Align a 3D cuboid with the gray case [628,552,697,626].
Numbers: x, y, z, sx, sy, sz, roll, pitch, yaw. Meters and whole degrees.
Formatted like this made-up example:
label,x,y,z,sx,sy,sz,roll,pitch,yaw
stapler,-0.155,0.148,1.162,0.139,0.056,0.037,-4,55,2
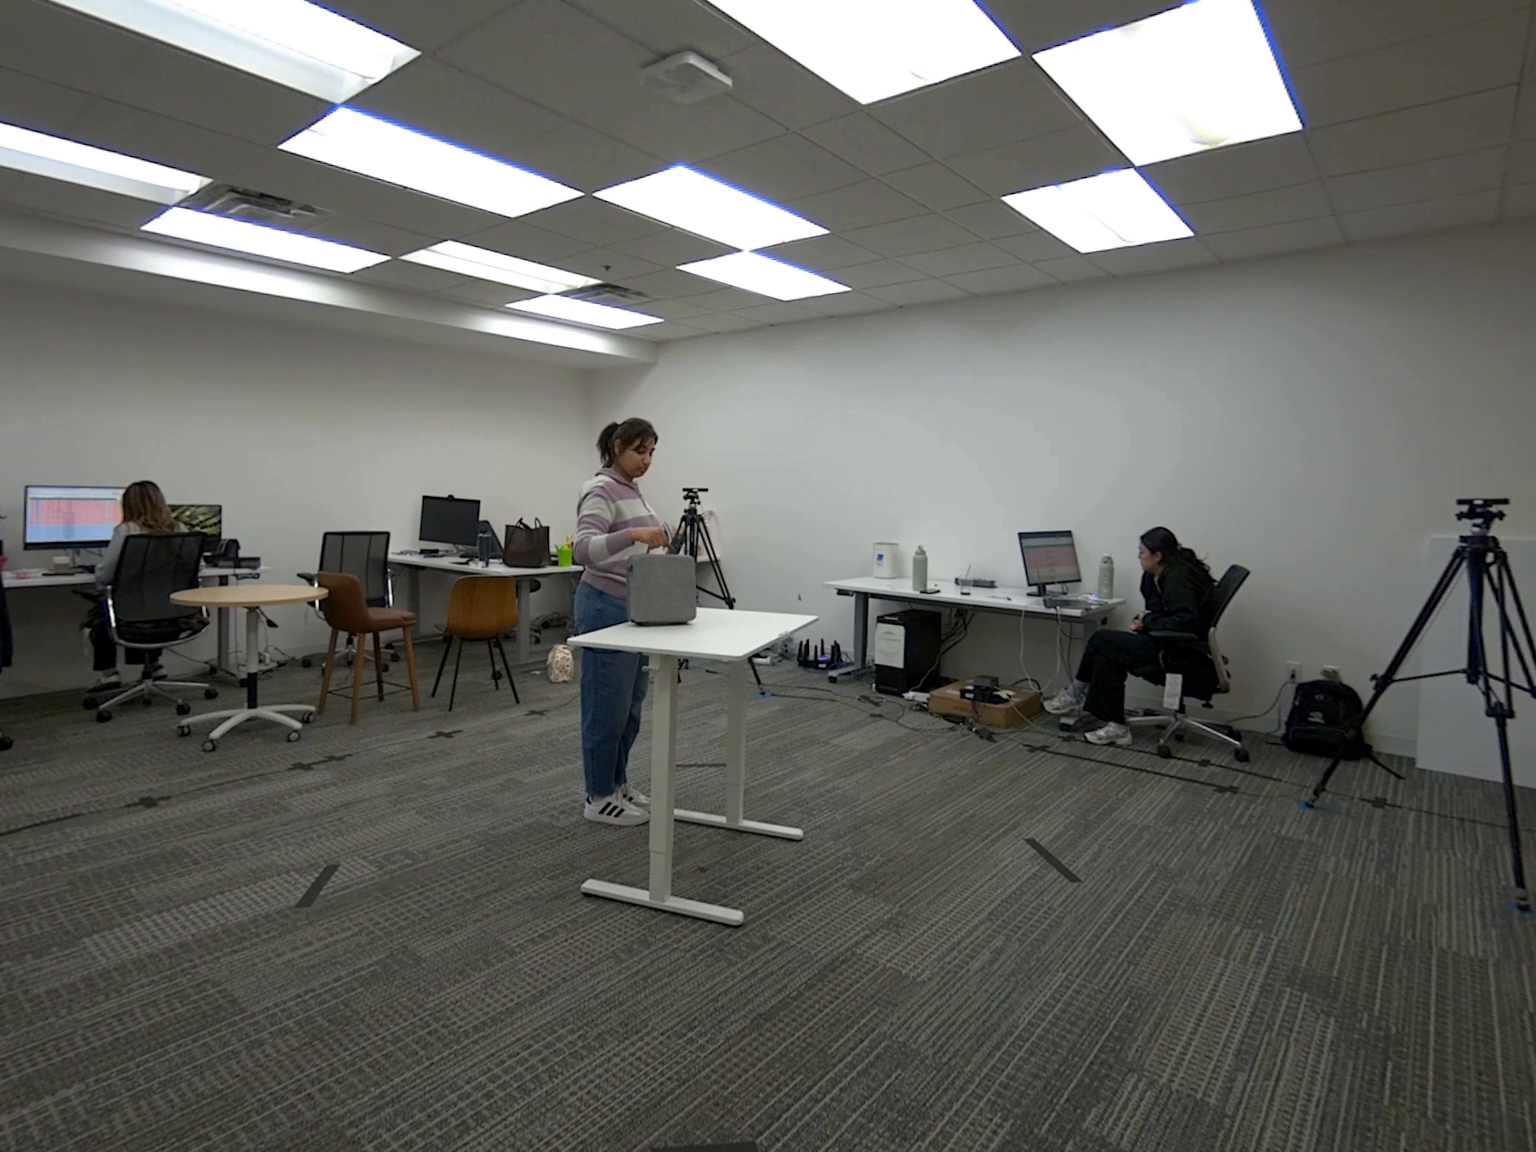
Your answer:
label,x,y,z,sx,sy,sz,roll,pitch,yaw
gray case,-0.401,0.040,3.166,0.251,0.262,0.106,0,-7,-25
